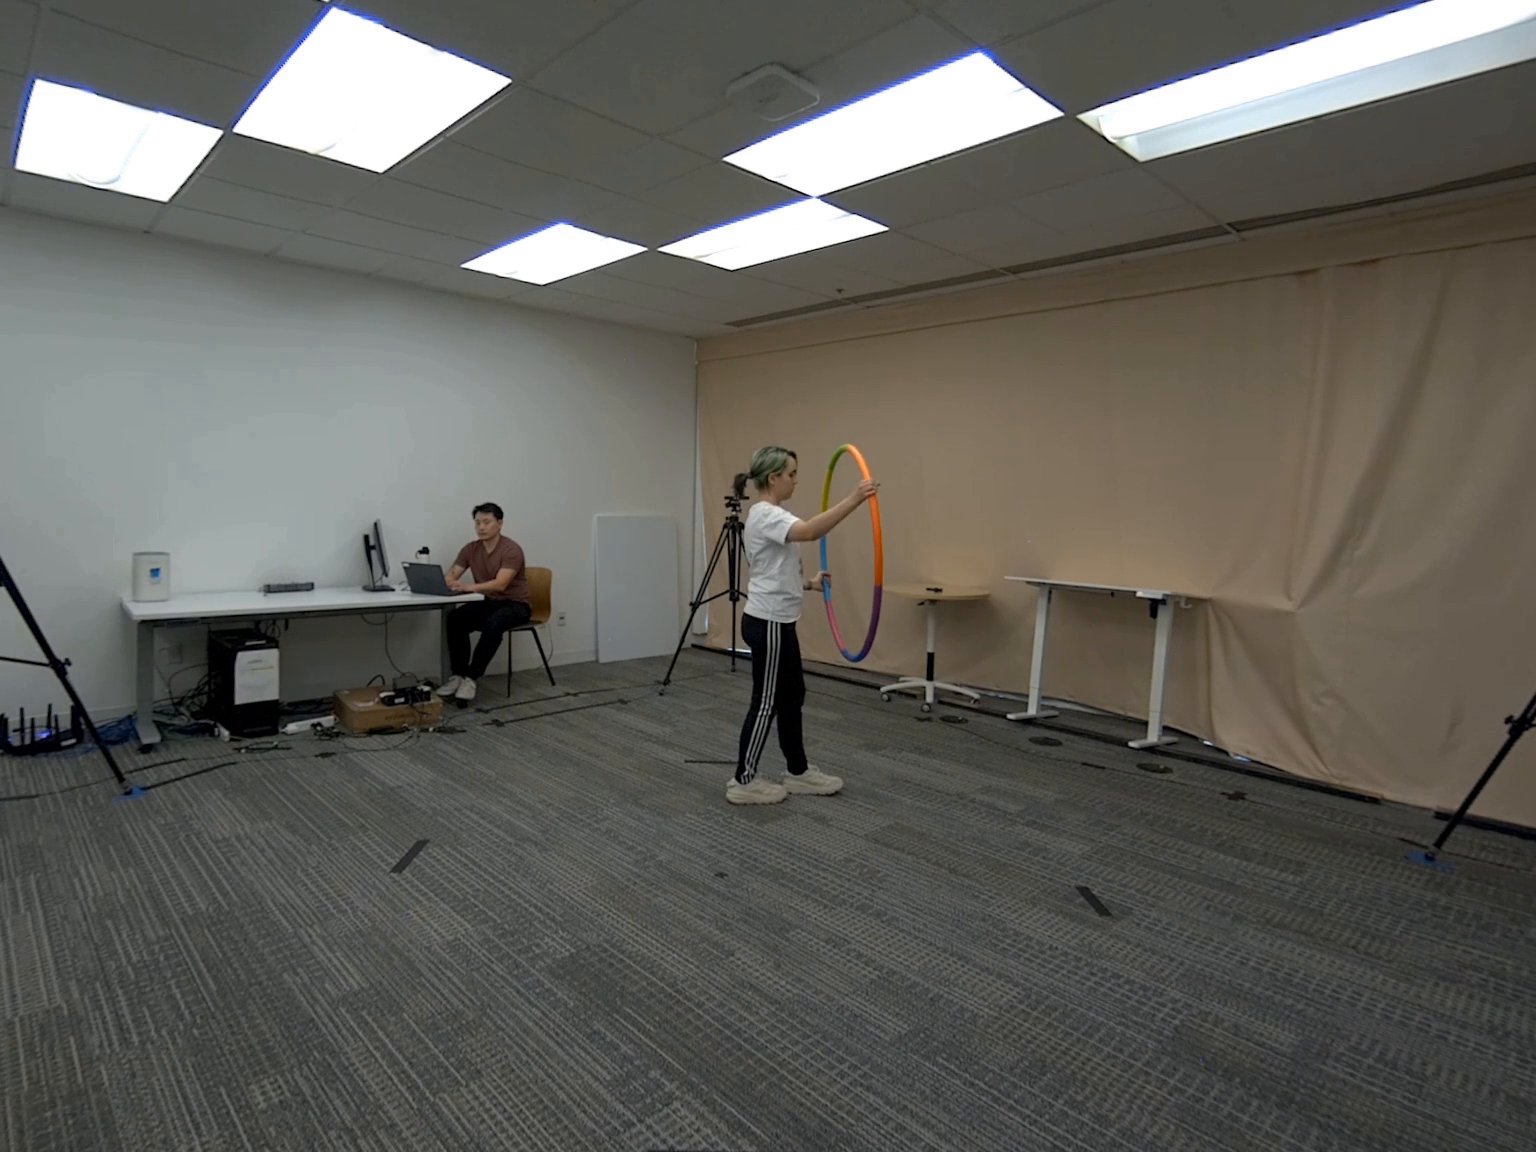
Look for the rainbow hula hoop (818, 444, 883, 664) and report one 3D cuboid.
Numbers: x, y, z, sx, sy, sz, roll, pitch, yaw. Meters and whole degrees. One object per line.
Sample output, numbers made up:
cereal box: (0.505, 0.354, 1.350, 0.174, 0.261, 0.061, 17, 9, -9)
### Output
rainbow hula hoop: (0.355, -0.099, 3.797, 0.035, 0.976, 0.988, -1, 4, -9)
